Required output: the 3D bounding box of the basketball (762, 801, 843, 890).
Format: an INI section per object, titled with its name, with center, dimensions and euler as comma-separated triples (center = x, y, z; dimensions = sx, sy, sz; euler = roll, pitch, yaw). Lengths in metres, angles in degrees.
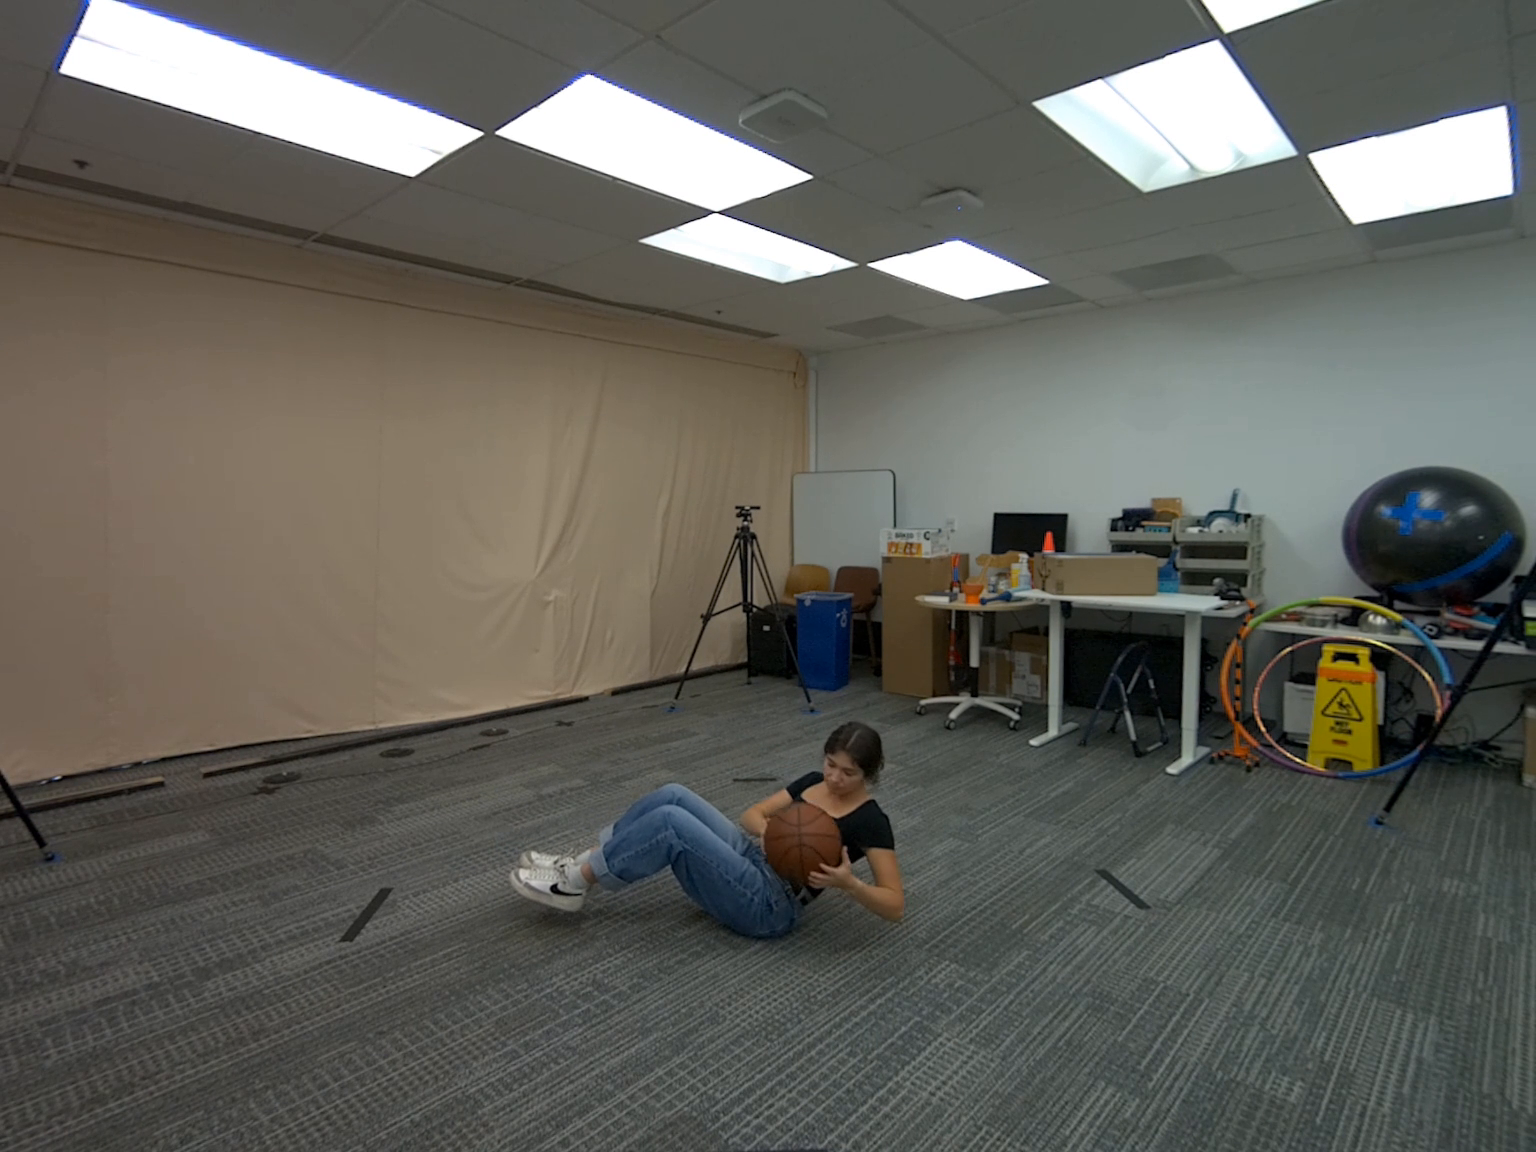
[basketball]
center = 0.110, 0.831, 2.599
dimensions = 0.236, 0.235, 0.237
euler = 0, 4, -2
